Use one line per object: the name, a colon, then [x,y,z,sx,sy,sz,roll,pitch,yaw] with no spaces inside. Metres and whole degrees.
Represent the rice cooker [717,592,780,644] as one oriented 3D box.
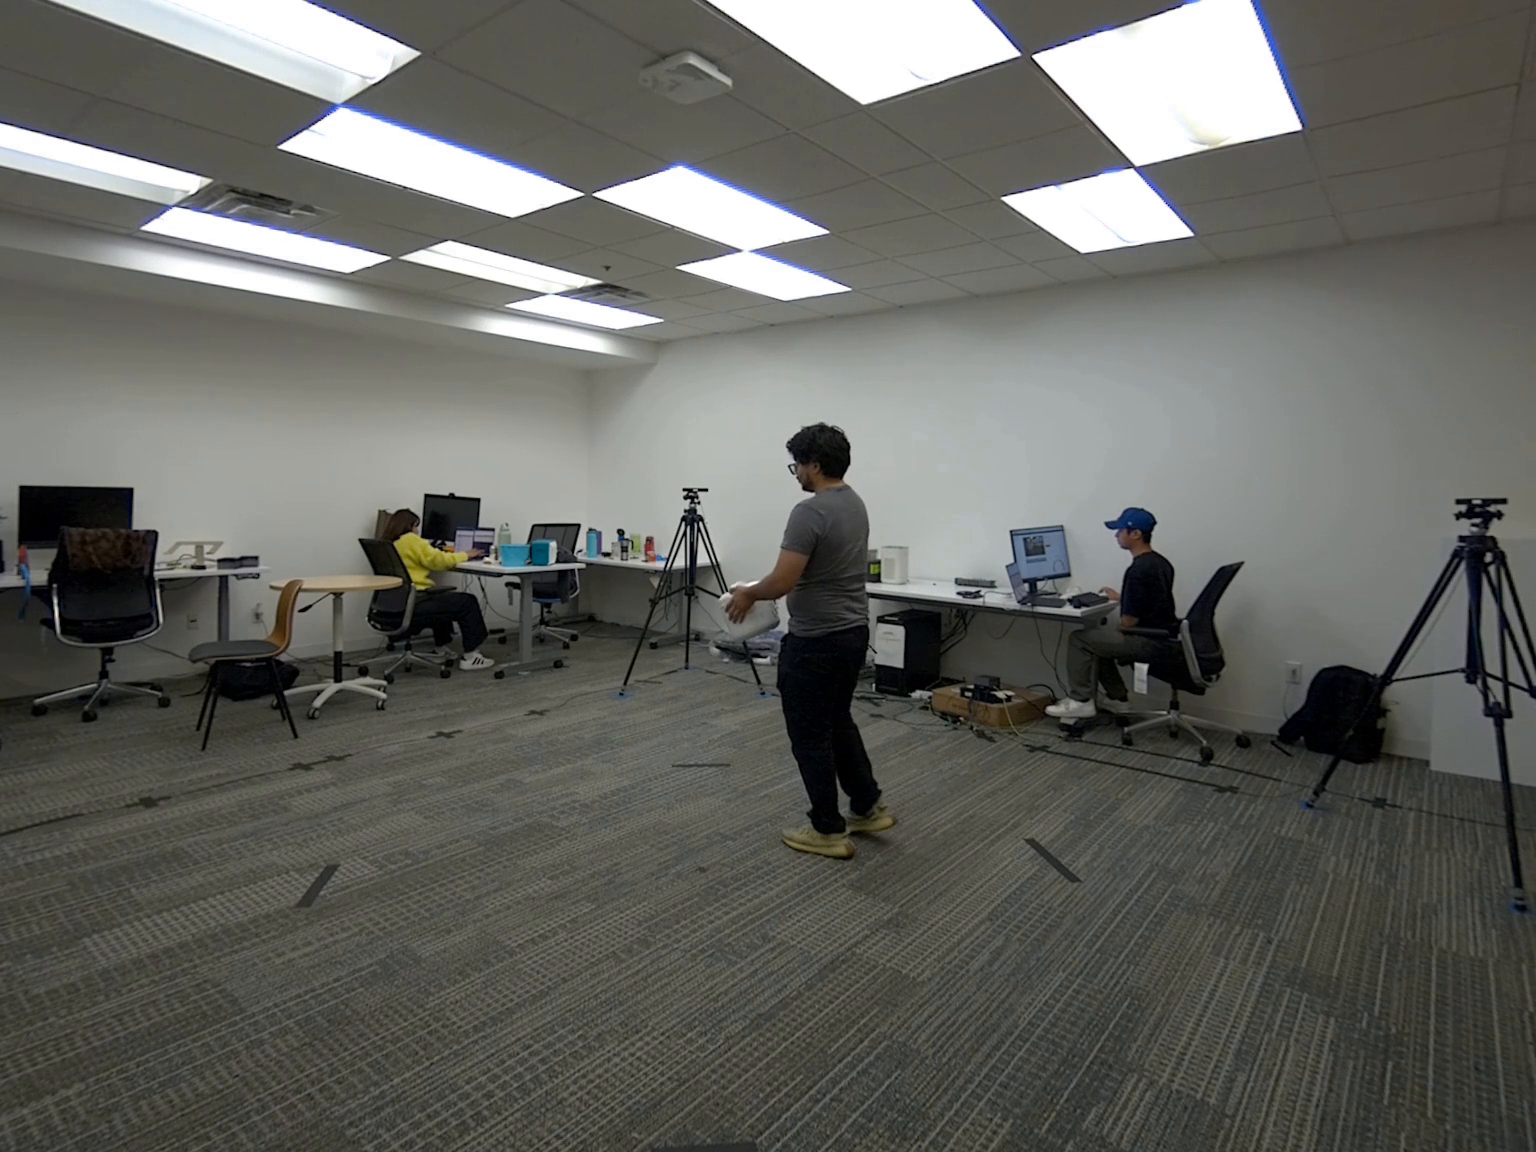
rice cooker: [-0.084,0.132,3.466,0.220,0.235,0.216,-24,-7,23]
